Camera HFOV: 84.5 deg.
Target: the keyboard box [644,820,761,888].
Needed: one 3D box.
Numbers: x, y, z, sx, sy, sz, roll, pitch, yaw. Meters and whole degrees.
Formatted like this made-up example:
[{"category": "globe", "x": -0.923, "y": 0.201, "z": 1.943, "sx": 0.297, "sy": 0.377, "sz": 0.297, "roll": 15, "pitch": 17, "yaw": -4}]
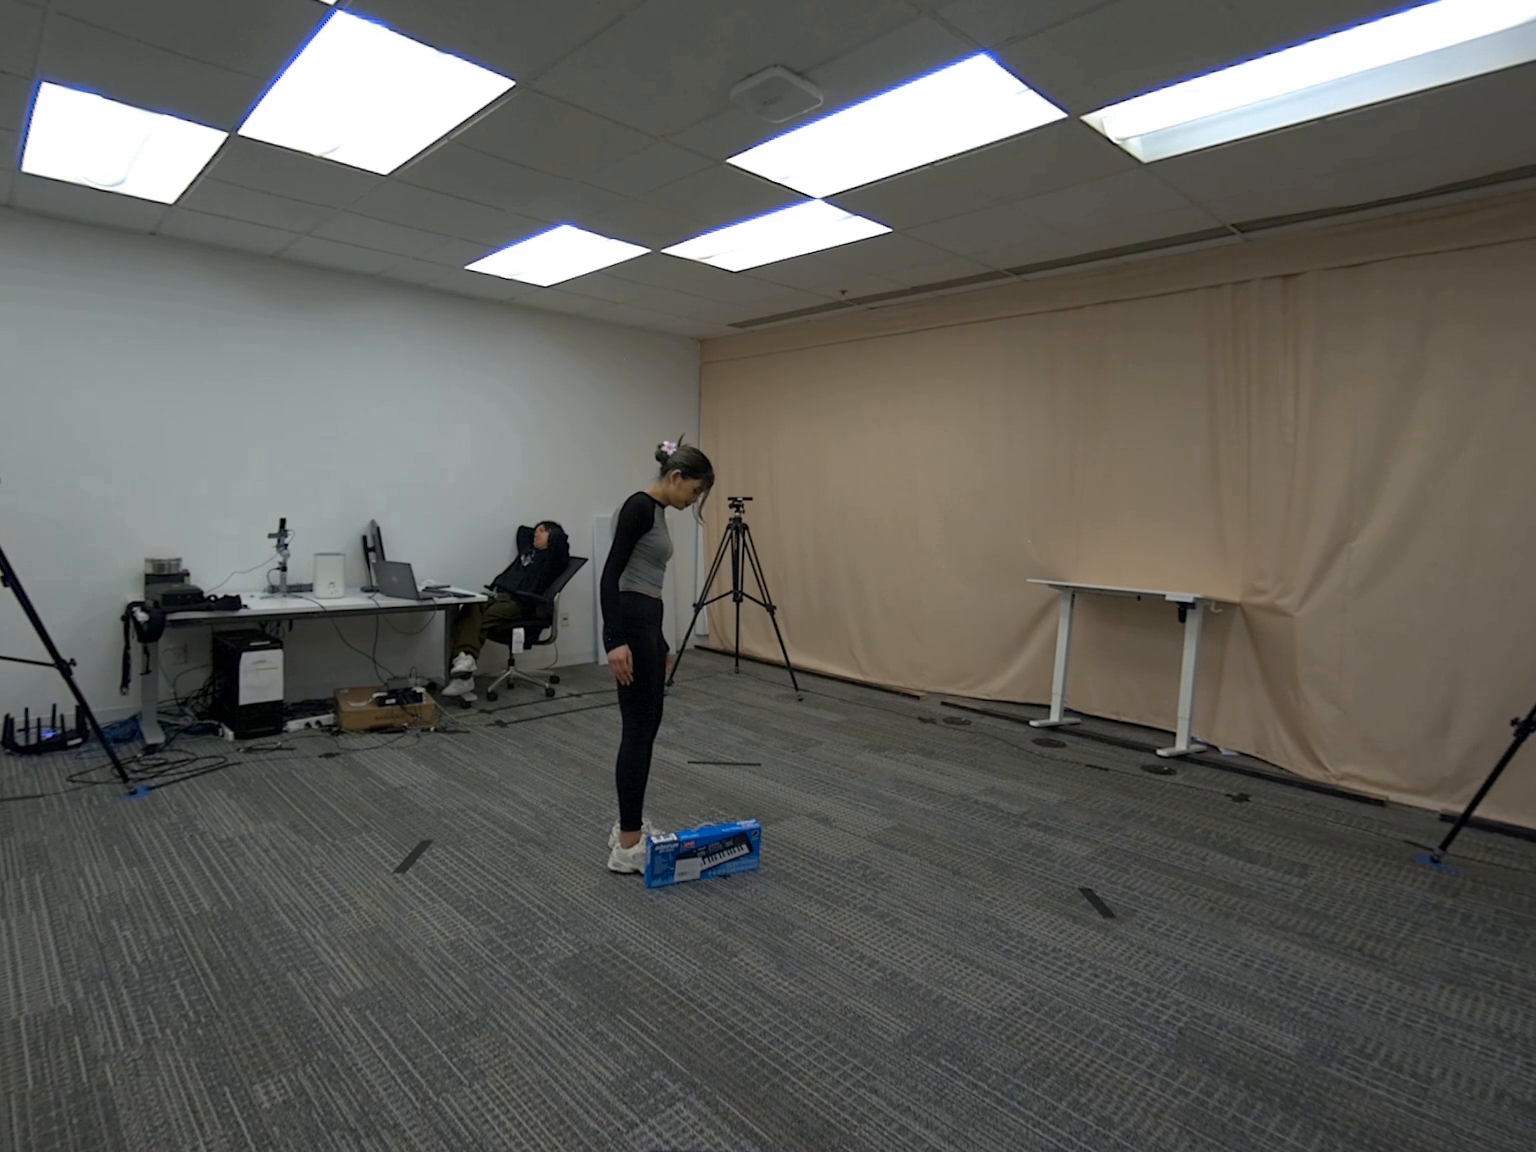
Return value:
[{"category": "keyboard box", "x": -0.244, "y": 1.022, "z": 3.088, "sx": 0.429, "sy": 0.175, "sz": 0.060, "roll": -1, "pitch": 11, "yaw": -26}]
